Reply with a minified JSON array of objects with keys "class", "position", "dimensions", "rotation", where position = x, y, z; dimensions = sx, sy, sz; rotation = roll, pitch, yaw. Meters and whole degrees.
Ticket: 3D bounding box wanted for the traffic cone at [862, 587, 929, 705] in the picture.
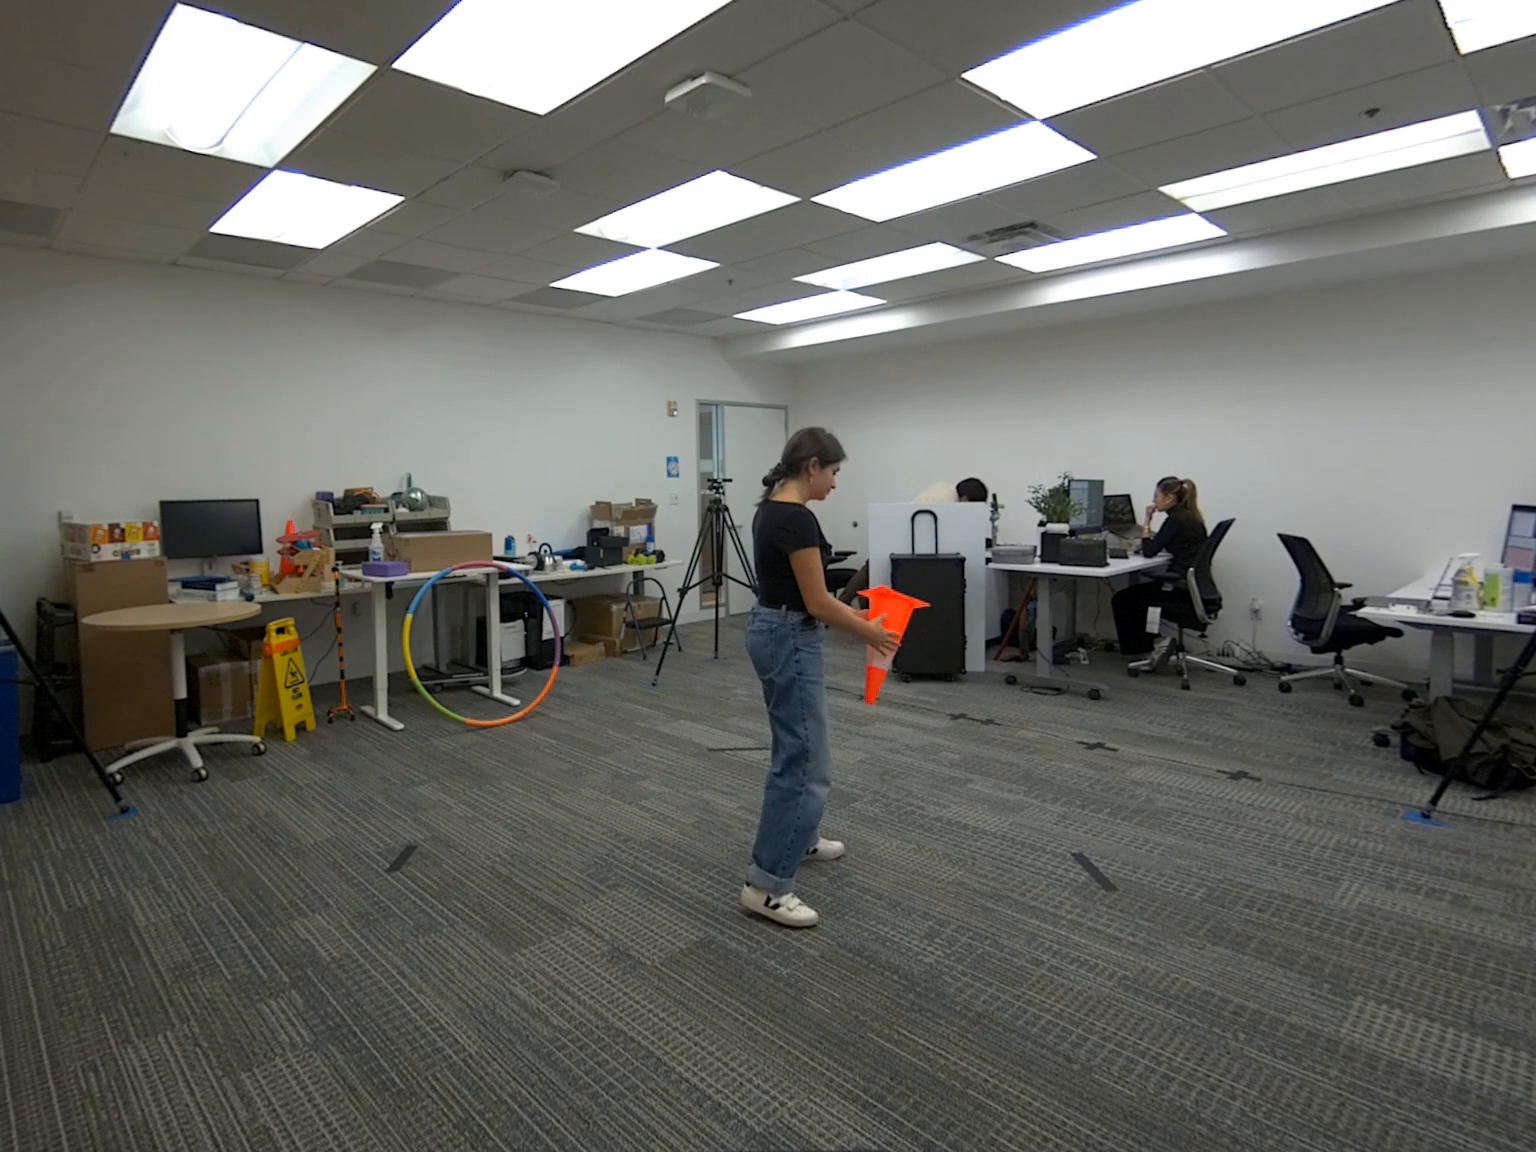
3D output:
[{"class":"traffic cone","position":[0.391,0.267,2.969],"dimensions":[0.201,0.387,0.205],"rotation":[20,-15,-15]}]
